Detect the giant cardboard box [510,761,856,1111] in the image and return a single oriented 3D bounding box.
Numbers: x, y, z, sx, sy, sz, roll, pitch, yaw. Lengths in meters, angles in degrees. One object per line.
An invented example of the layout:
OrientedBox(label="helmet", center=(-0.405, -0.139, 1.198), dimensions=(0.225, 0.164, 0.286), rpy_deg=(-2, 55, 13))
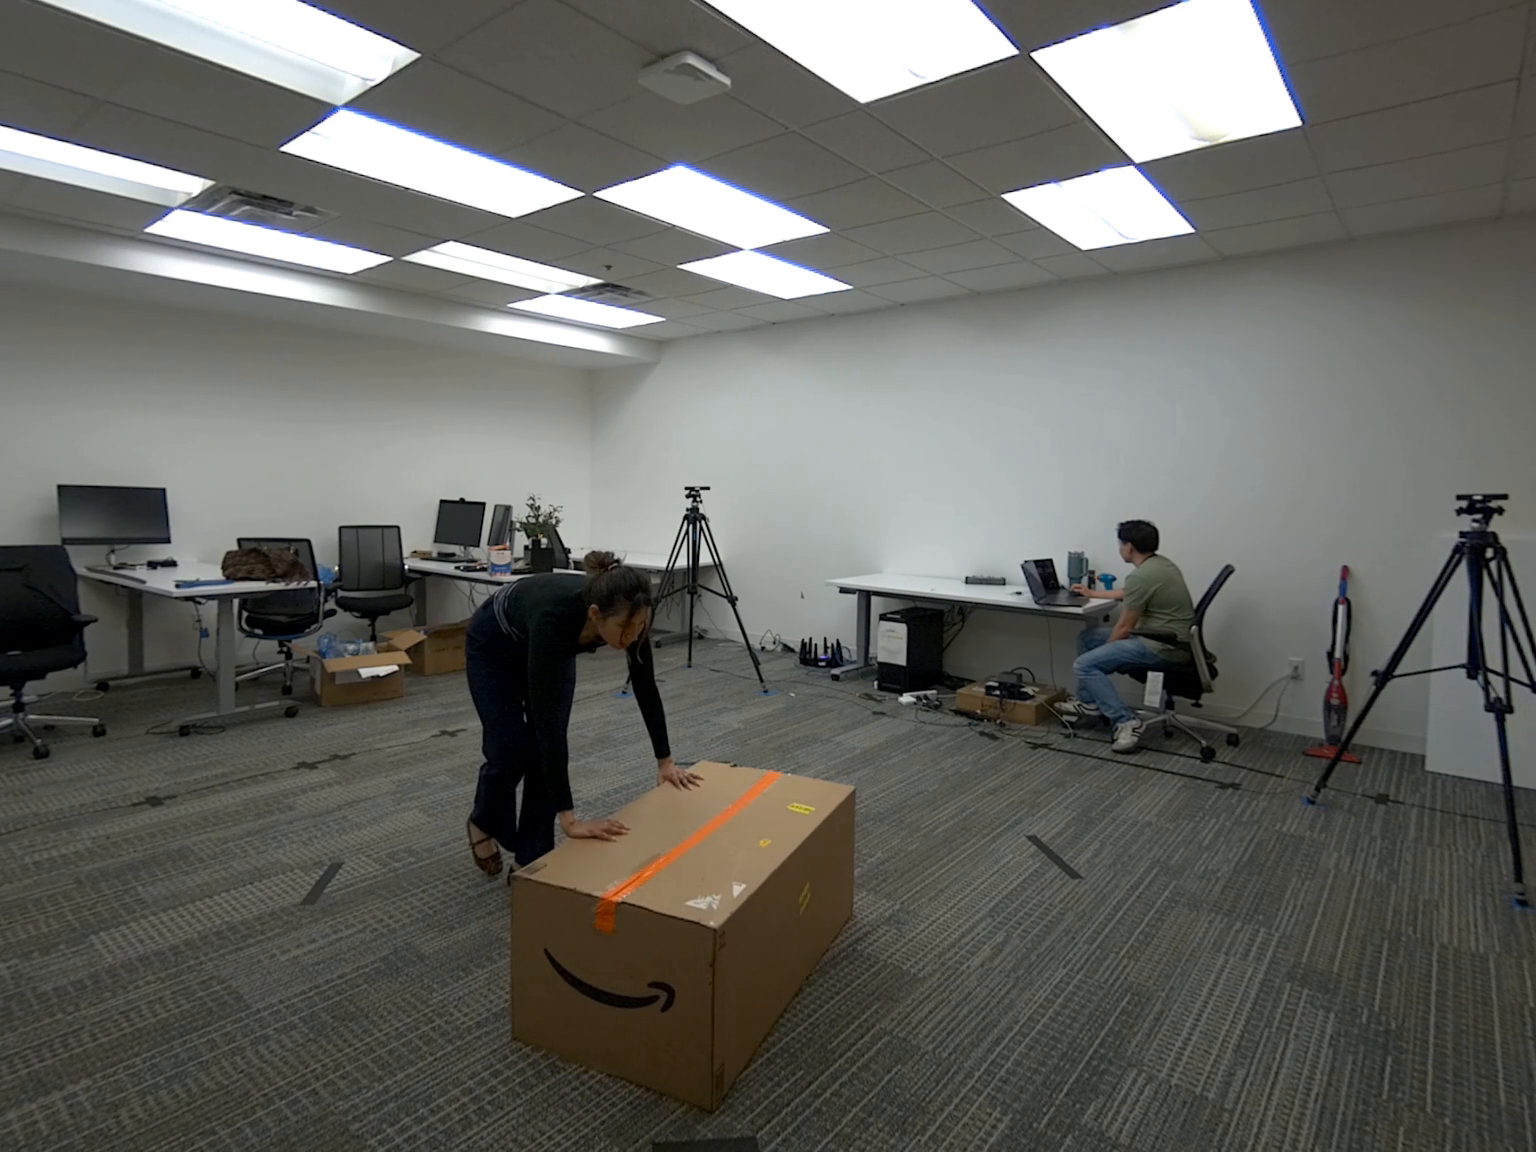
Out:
OrientedBox(label="giant cardboard box", center=(-0.191, 0.919, 2.451), dimensions=(0.592, 0.425, 1.004), rpy_deg=(2, 5, 25))
